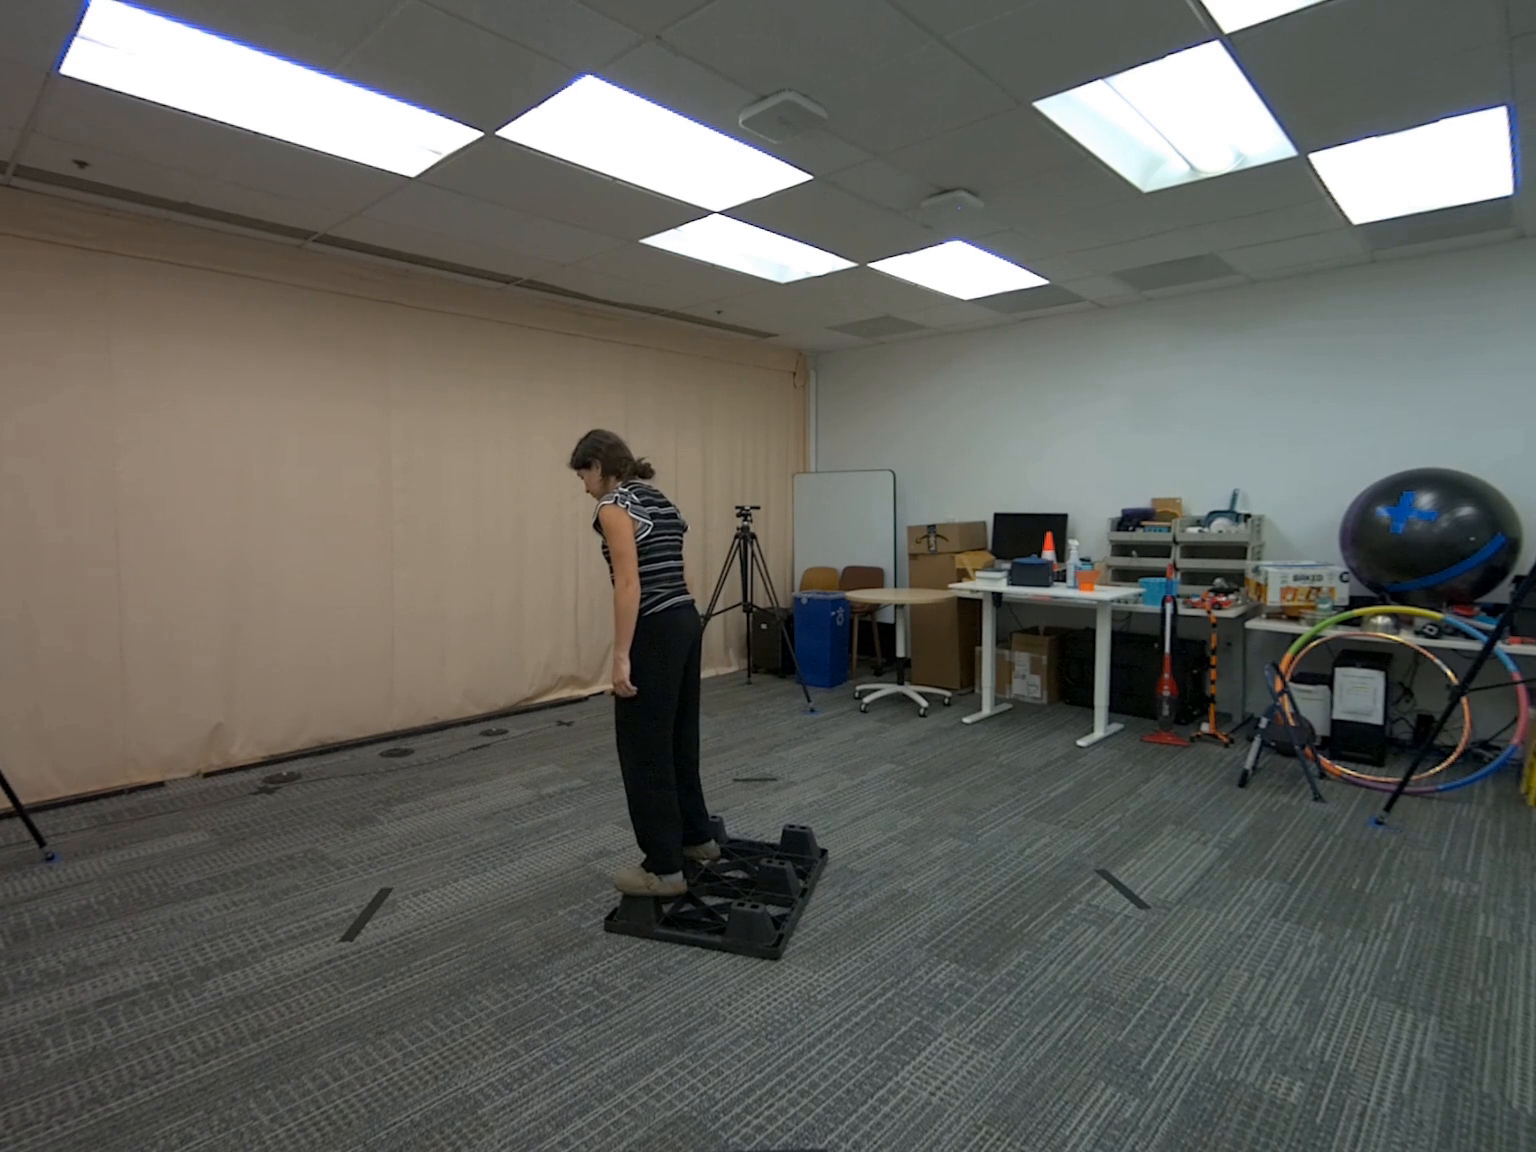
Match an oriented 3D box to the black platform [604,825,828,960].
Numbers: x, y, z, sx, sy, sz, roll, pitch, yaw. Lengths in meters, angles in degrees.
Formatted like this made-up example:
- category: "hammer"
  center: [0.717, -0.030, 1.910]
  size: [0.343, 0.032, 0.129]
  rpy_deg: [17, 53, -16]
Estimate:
- category: "black platform"
  center: [-0.146, 1.075, 3.033]
  size: [0.616, 0.143, 0.793]
  rpy_deg: [0, 5, 16]
